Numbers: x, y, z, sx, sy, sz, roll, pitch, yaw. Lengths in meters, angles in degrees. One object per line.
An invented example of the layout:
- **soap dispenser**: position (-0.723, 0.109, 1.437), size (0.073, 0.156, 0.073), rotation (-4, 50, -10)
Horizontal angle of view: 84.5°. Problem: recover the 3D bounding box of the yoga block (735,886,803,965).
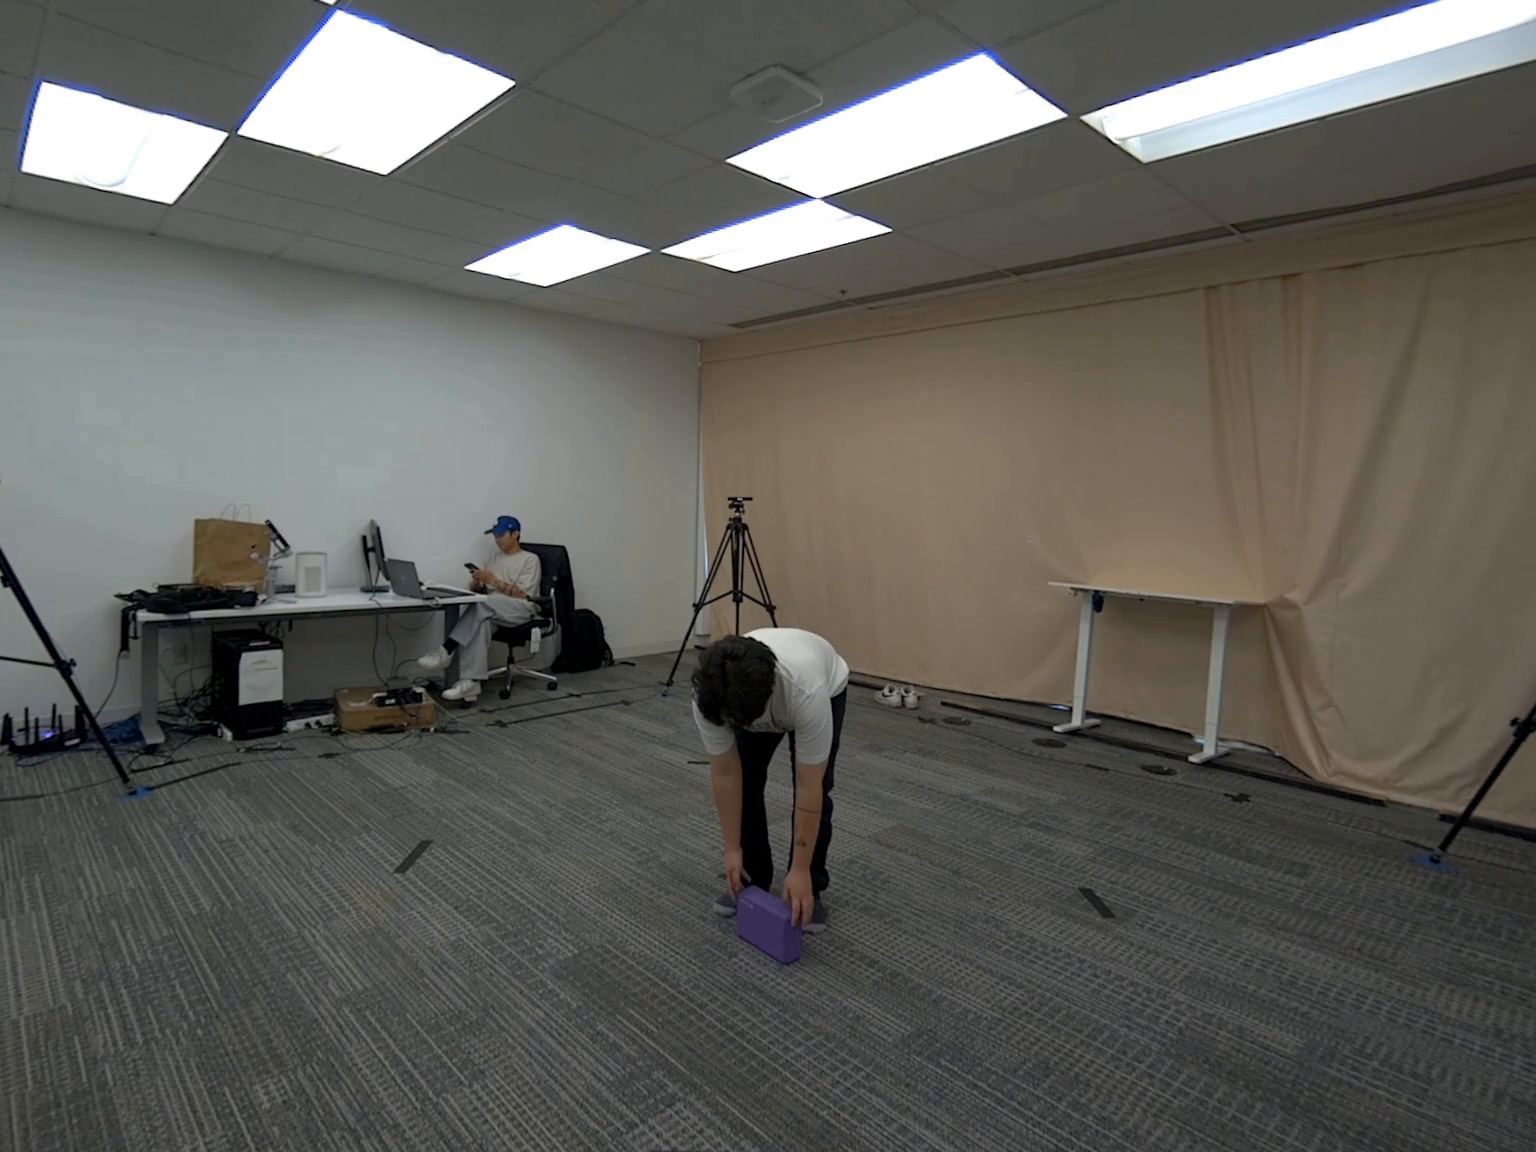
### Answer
- **yoga block**: position (-0.007, 1.079, 2.615), size (0.075, 0.148, 0.235), rotation (-3, 6, -41)
